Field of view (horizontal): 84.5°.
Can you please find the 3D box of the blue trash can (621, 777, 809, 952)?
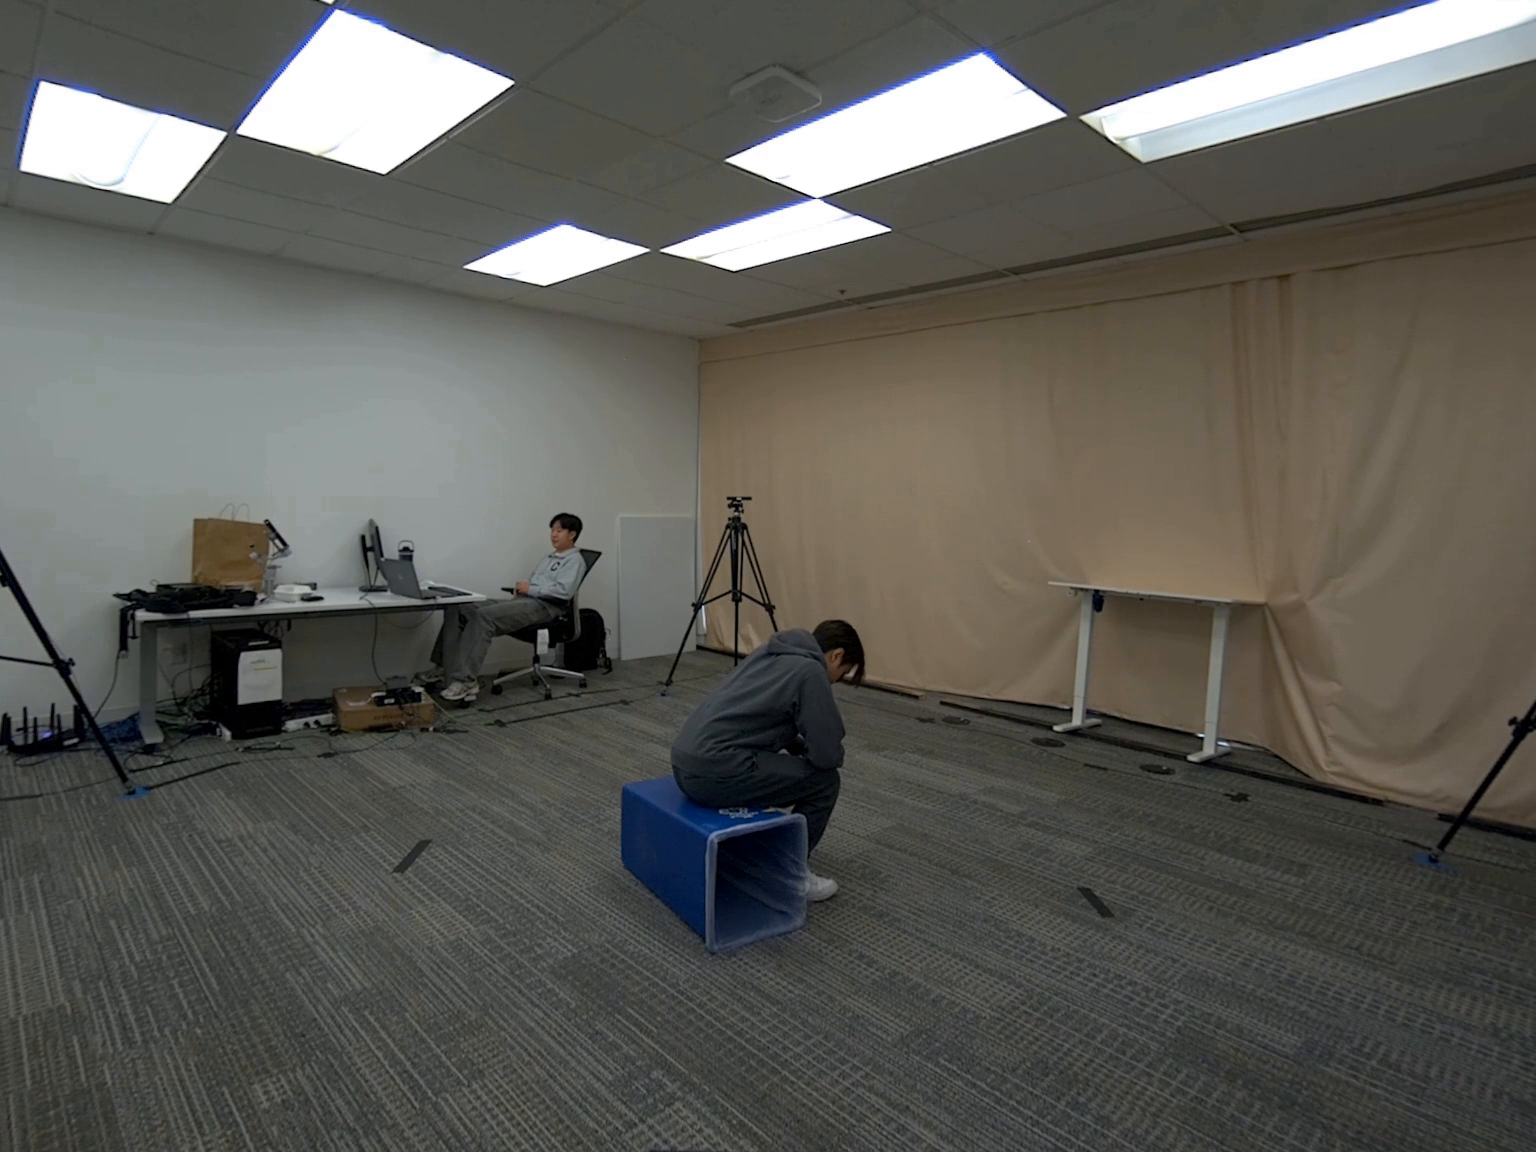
[{"bbox_3d":[-0.239,0.953,2.936,0.366,0.378,0.730,-1,2,-35],"label":"blue trash can"}]
